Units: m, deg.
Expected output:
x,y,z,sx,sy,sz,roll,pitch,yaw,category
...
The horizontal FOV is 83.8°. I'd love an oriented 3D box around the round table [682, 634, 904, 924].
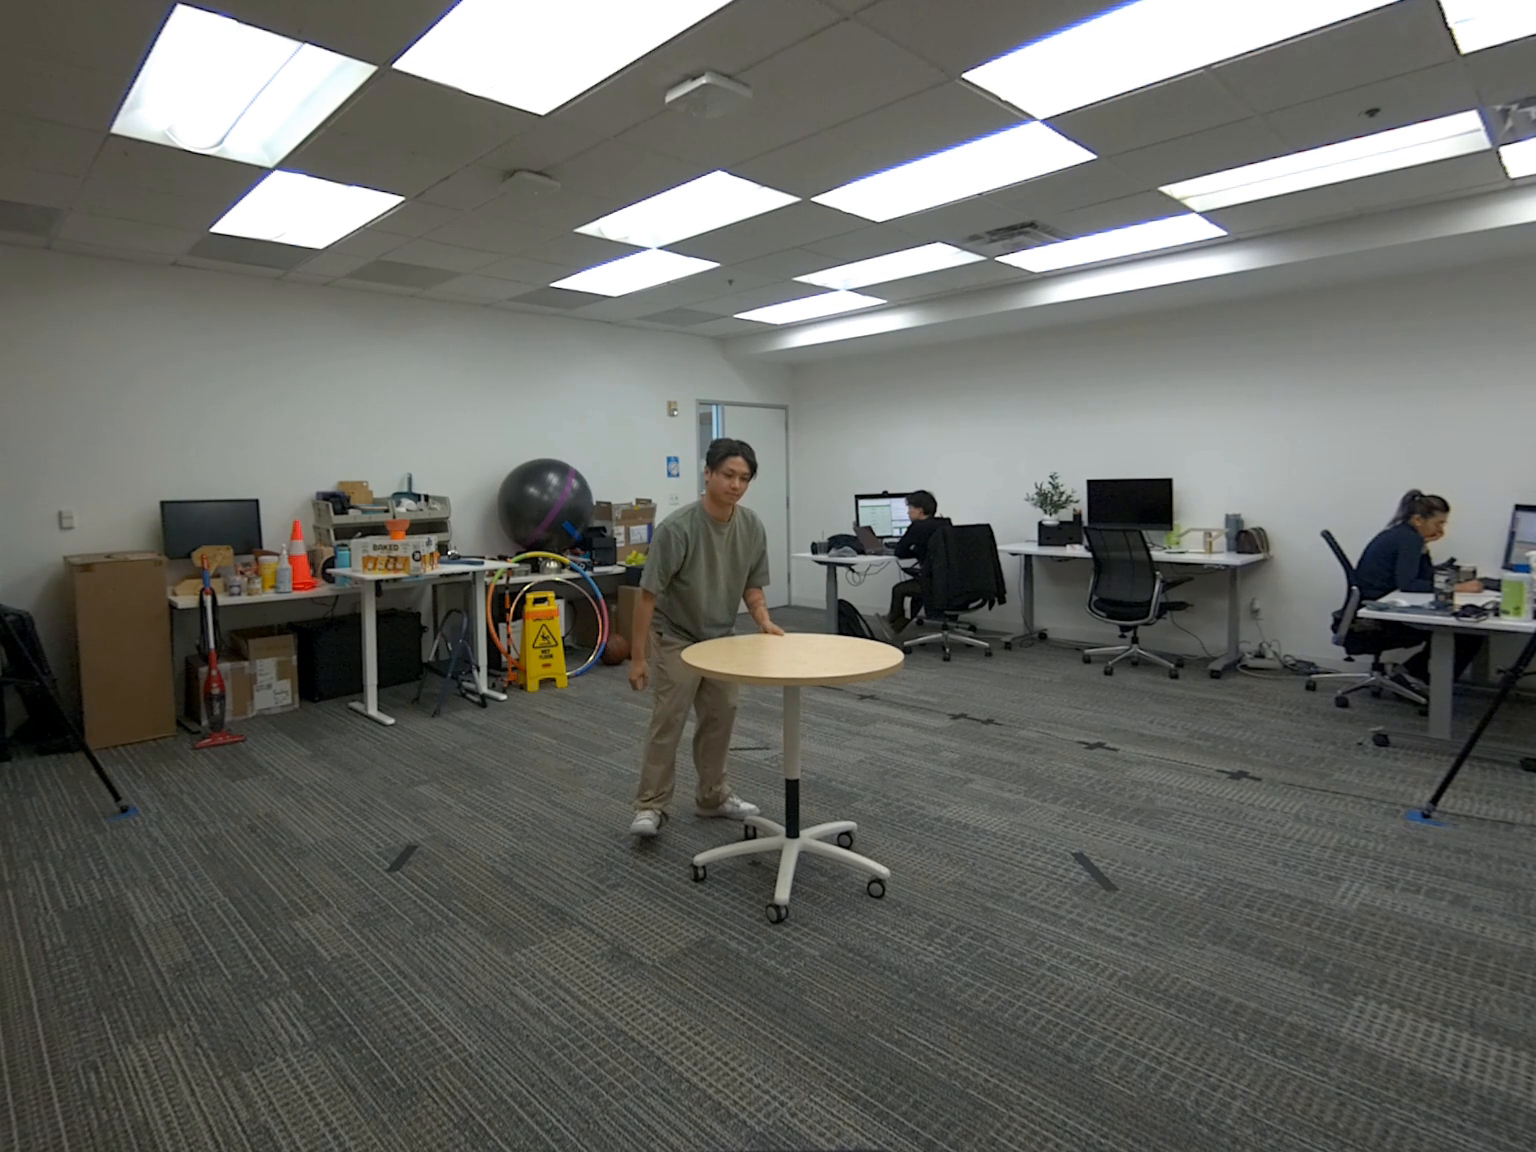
x,y,z,sx,sy,sz,roll,pitch,yaw,category
0.104,0.657,2.991,0.784,0.783,0.789,0,5,-2,round table
